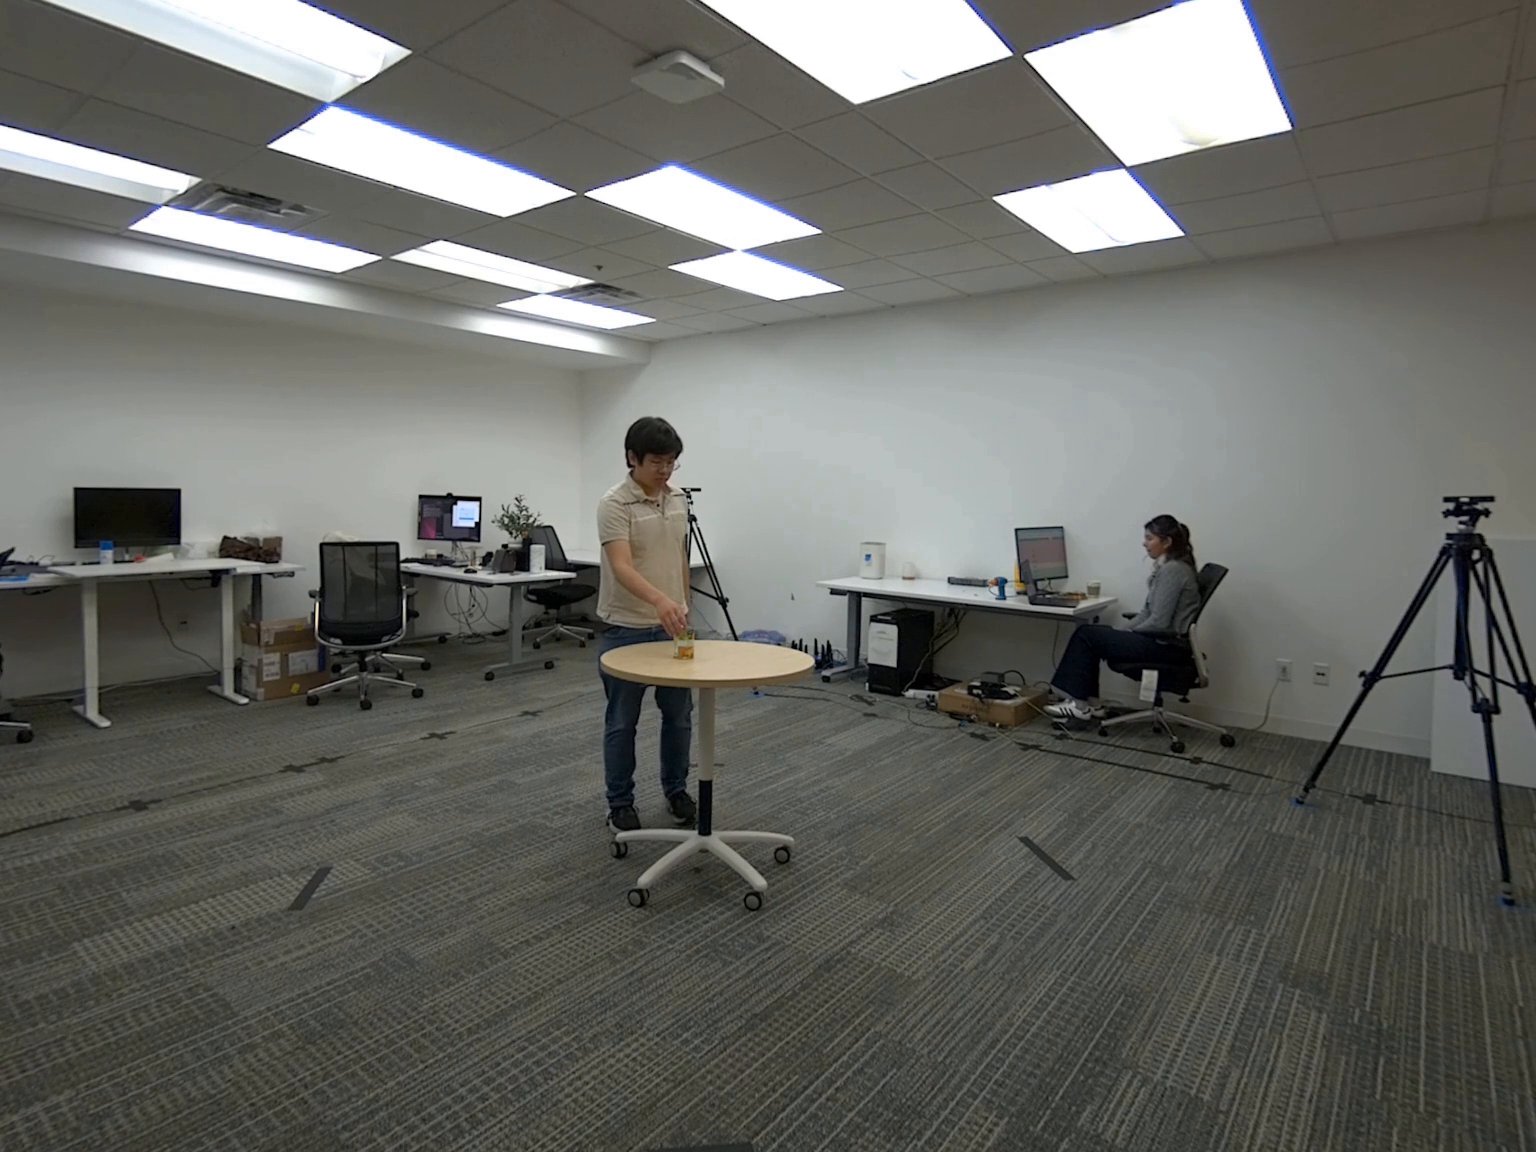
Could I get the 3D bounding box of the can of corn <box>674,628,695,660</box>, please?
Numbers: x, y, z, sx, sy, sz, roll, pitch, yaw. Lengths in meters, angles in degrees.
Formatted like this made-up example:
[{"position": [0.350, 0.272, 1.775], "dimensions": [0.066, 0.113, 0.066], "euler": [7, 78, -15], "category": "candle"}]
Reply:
[{"position": [-0.315, 0.233, 3.049], "dimensions": [0.074, 0.111, 0.074], "euler": [-2, 1, -2], "category": "can of corn"}]
